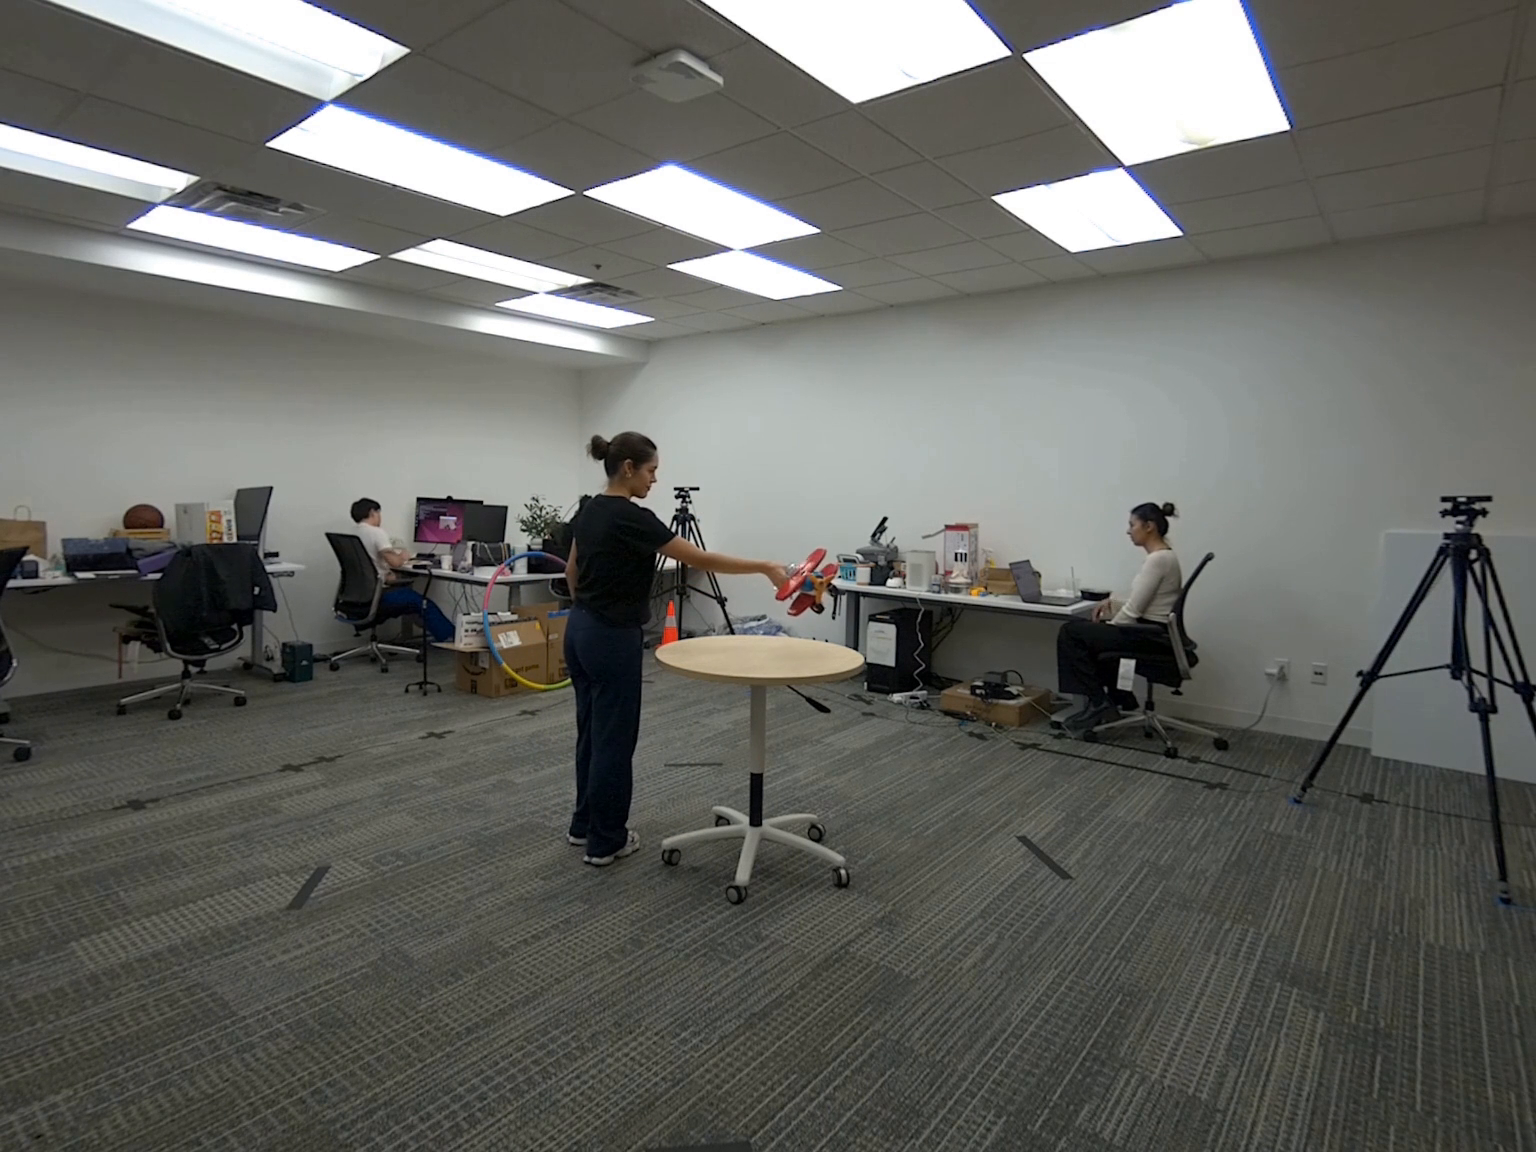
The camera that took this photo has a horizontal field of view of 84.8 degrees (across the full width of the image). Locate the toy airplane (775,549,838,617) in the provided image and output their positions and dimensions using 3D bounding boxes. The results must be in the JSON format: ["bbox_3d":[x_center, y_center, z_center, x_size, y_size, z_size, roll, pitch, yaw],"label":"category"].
[{"bbox_3d":[0.130,0.037,3.075,0.266,0.254,0.150,-7,-46,33],"label":"toy airplane"}]
